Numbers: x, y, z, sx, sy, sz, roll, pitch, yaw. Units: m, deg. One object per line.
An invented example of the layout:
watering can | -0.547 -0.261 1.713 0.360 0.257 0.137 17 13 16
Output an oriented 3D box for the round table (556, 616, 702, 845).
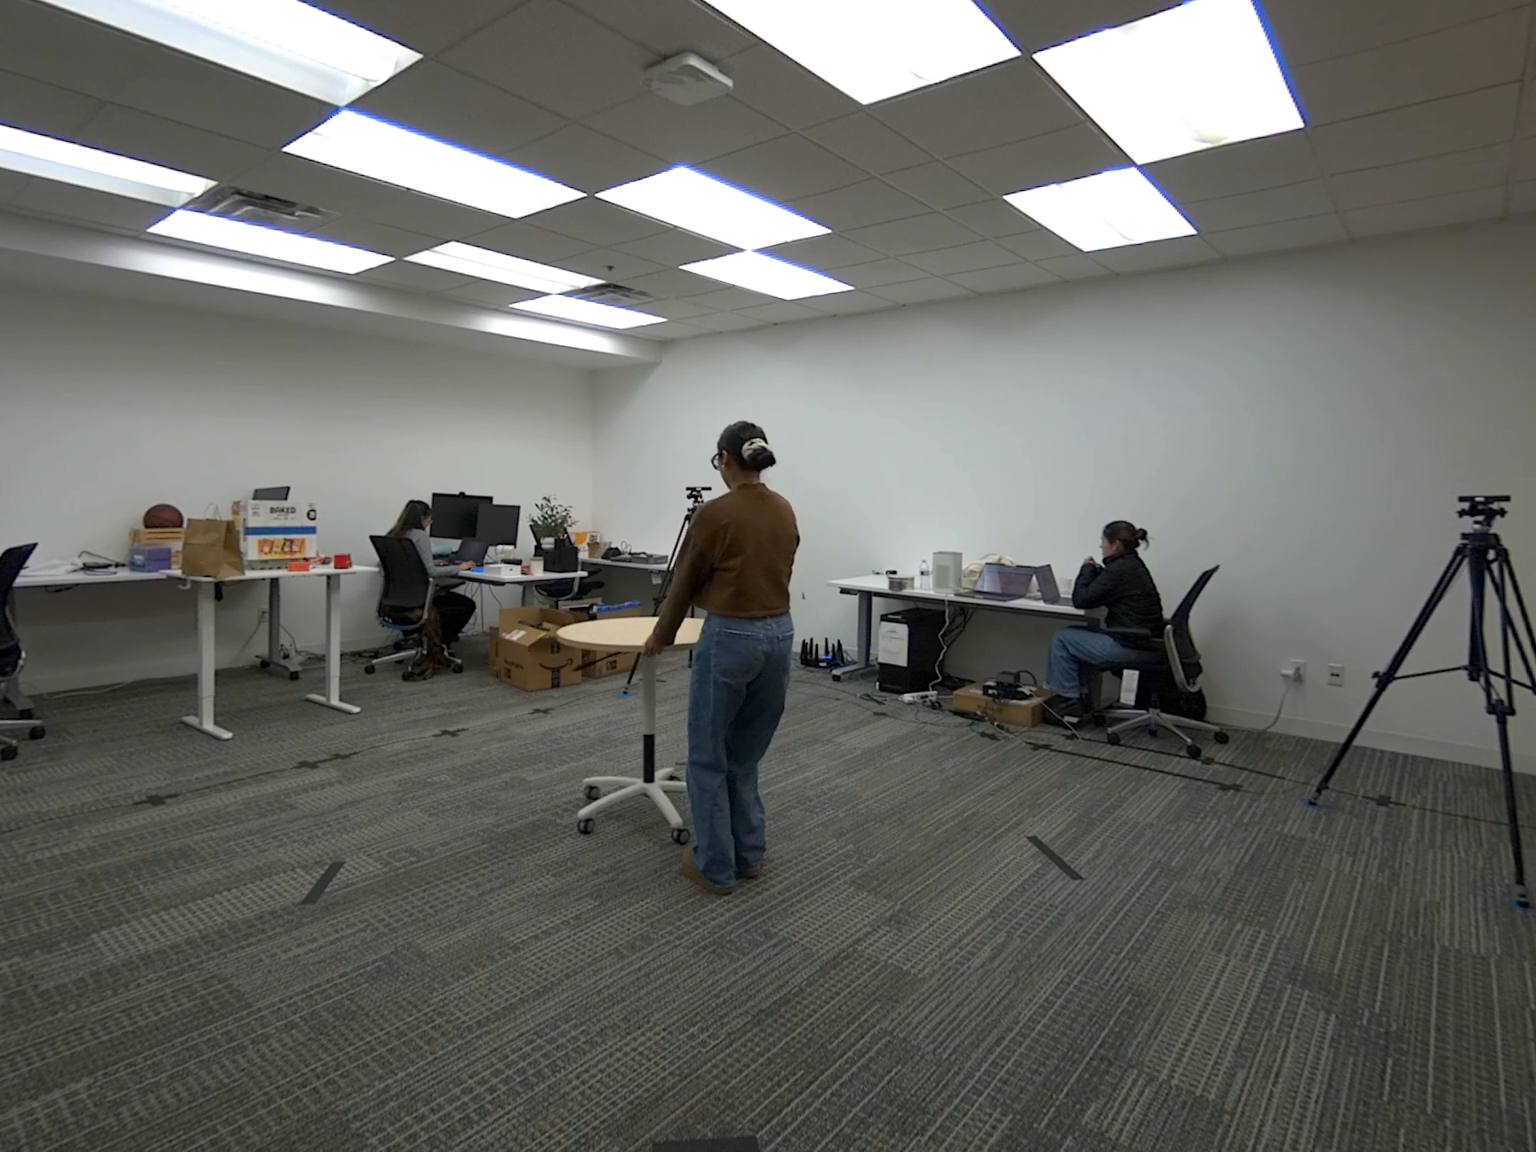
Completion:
round table | -0.489 0.616 3.583 0.784 0.784 0.789 0 4 -2
